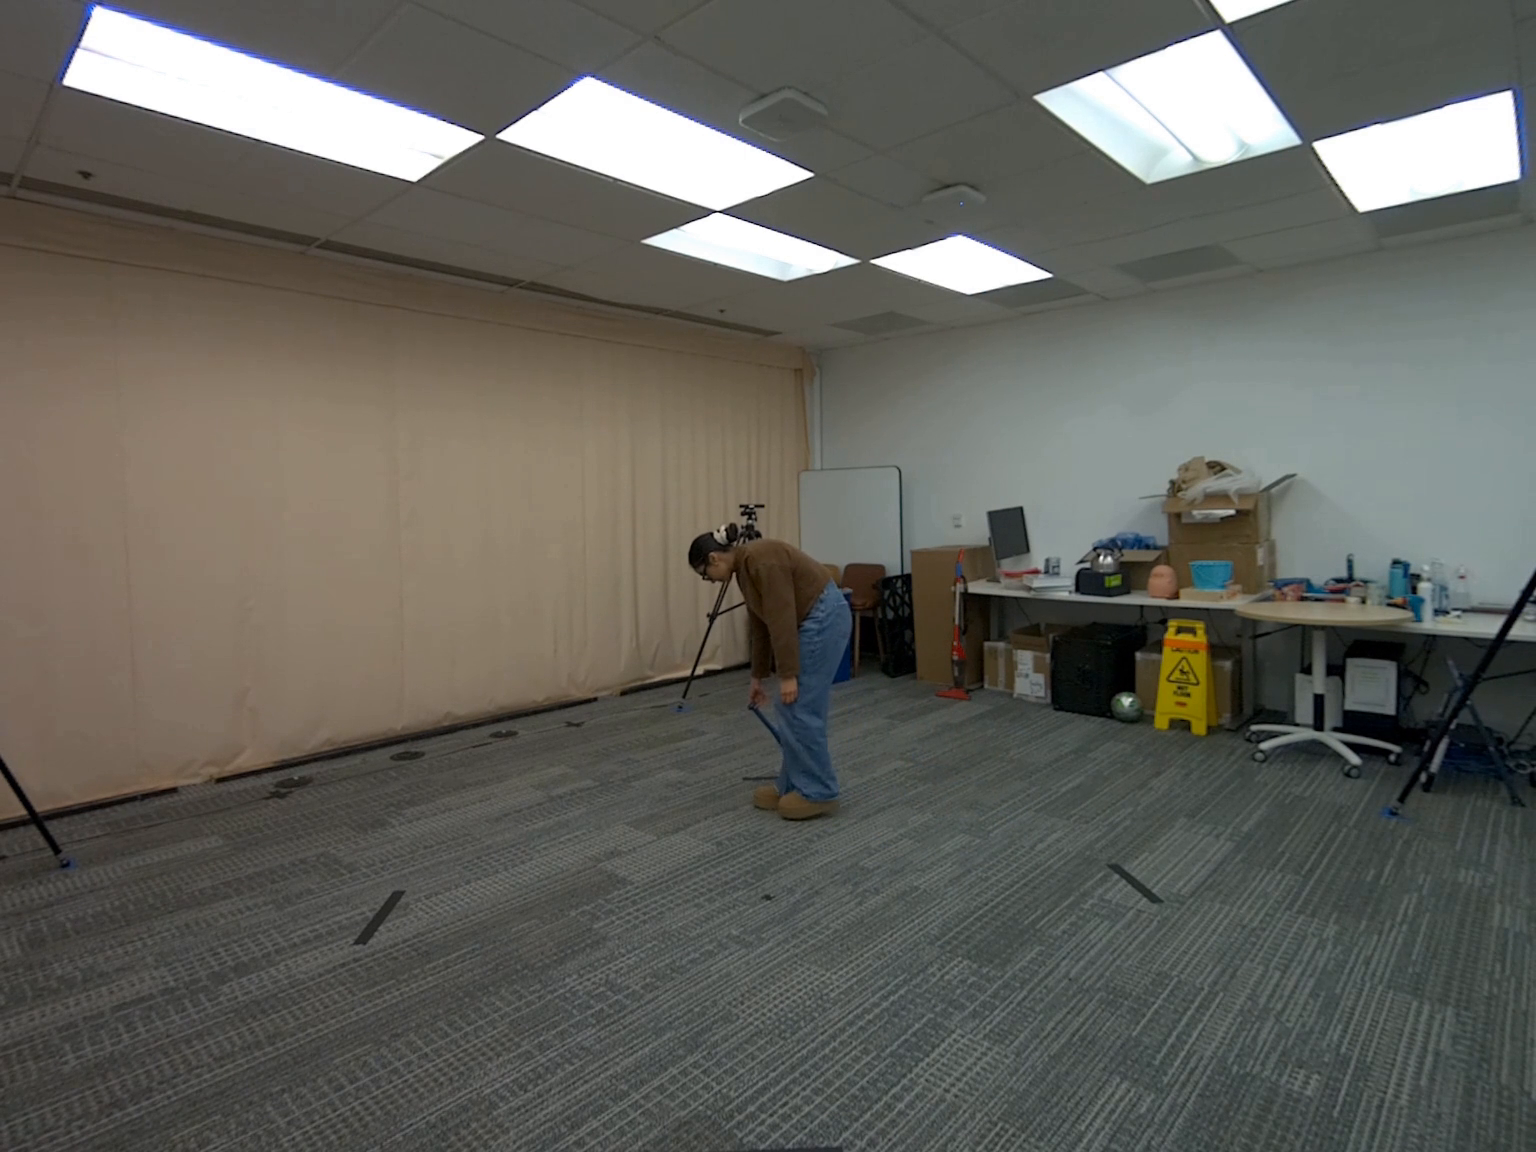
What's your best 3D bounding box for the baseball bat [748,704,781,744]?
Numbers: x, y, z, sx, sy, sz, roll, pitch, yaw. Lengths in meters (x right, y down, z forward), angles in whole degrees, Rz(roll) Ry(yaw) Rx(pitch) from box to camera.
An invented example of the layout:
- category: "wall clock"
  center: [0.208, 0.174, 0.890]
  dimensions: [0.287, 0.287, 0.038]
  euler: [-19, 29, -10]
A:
- category: "baseball bat"
  center: [0.096, 0.826, 4.085]
  dimensions: [0.089, 0.545, 0.089]
  euler: [-43, -3, -4]
